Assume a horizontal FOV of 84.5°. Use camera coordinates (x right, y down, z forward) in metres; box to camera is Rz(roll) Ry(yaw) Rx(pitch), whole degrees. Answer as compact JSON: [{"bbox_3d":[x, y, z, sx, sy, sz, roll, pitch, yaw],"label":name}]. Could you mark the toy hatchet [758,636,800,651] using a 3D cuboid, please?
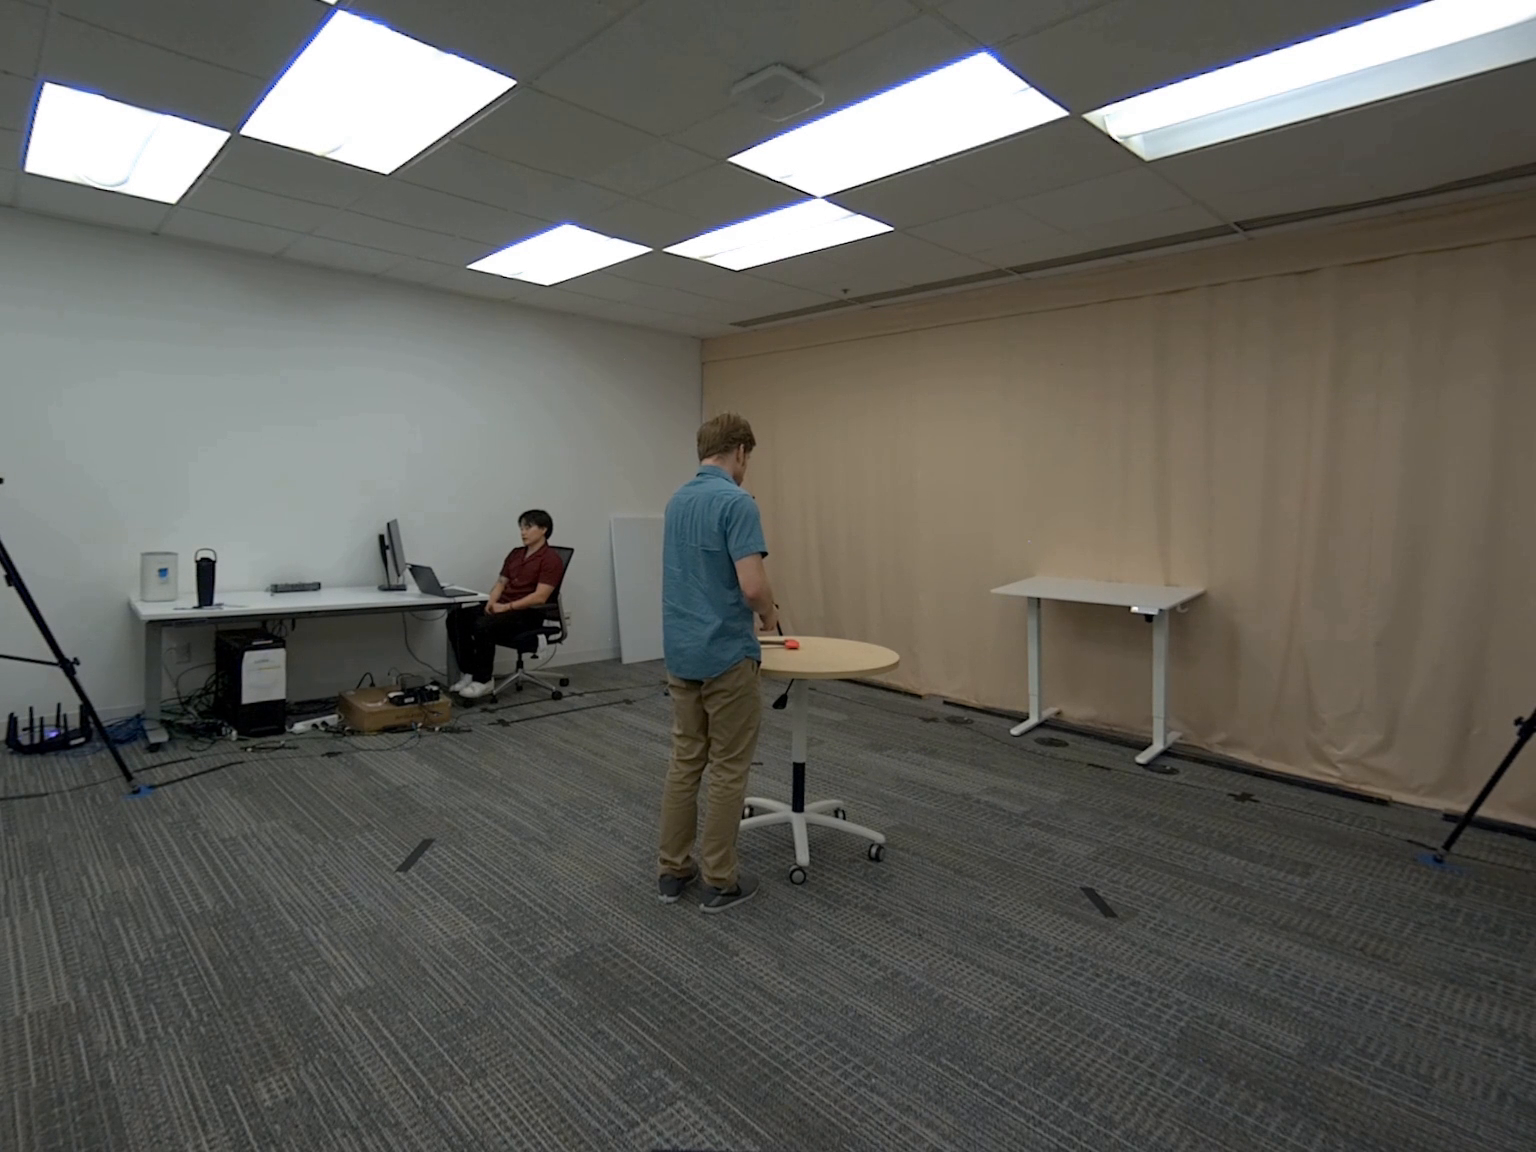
[{"bbox_3d":[0.009,0.283,3.403,0.264,0.029,0.135,-3,11,-38],"label":"toy hatchet"}]
